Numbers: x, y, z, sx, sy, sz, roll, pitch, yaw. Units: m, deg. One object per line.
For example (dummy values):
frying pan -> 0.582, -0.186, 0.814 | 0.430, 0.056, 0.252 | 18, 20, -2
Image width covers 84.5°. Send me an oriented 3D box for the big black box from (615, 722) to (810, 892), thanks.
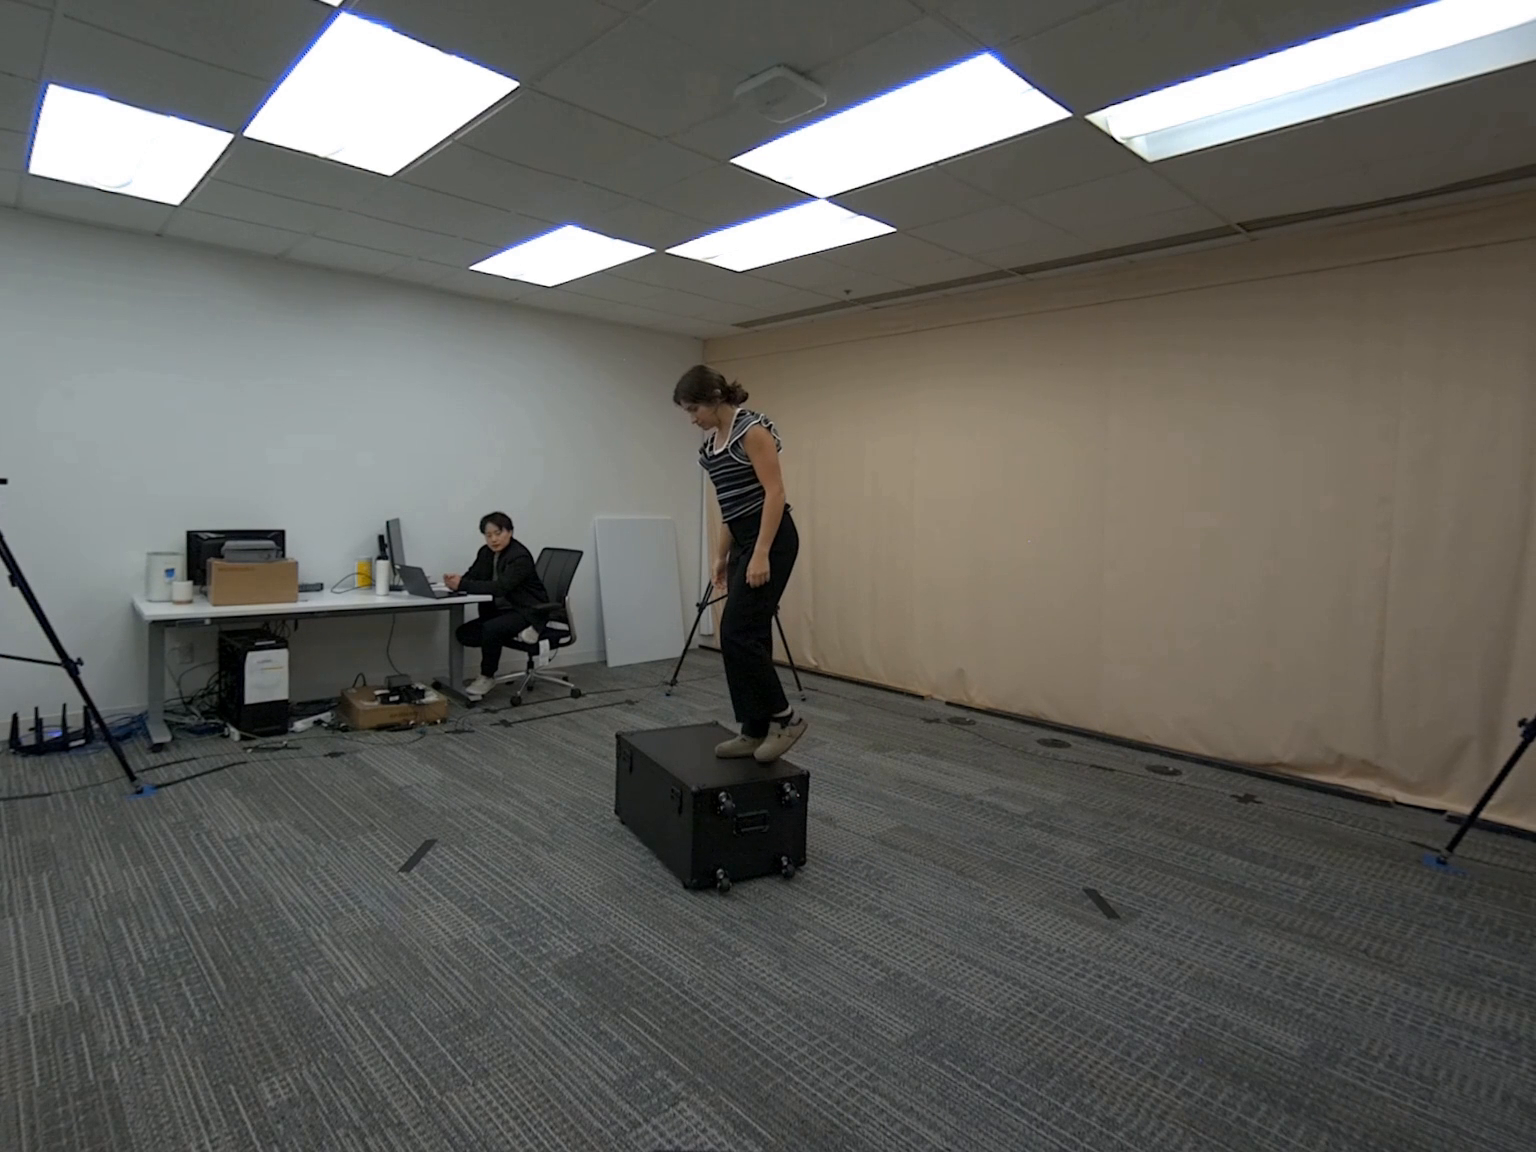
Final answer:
big black box -> -0.246, 0.893, 3.357 | 0.511, 0.395, 0.881 | -1, 5, -29
